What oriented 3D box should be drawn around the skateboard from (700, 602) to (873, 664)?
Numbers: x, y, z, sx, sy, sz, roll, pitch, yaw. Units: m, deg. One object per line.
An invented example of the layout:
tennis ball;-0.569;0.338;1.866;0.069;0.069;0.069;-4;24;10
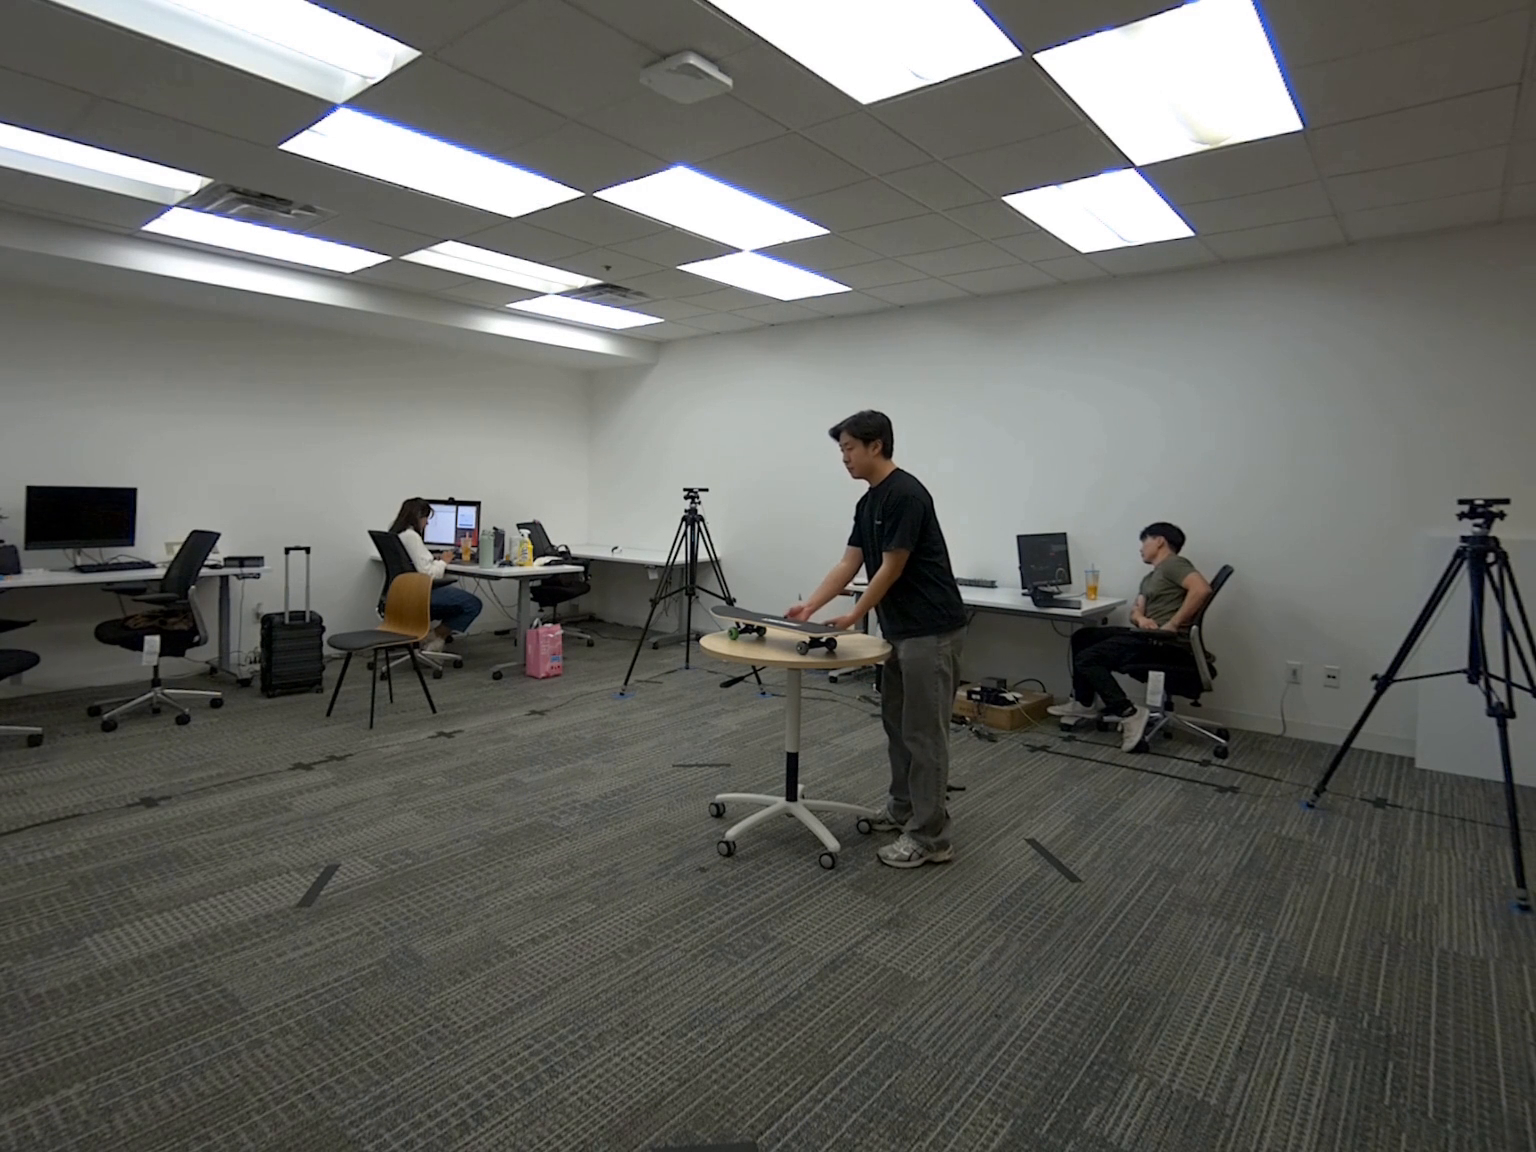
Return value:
skateboard;0.045;0.212;3.348;0.188;0.110;0.813;-4;8;-41
